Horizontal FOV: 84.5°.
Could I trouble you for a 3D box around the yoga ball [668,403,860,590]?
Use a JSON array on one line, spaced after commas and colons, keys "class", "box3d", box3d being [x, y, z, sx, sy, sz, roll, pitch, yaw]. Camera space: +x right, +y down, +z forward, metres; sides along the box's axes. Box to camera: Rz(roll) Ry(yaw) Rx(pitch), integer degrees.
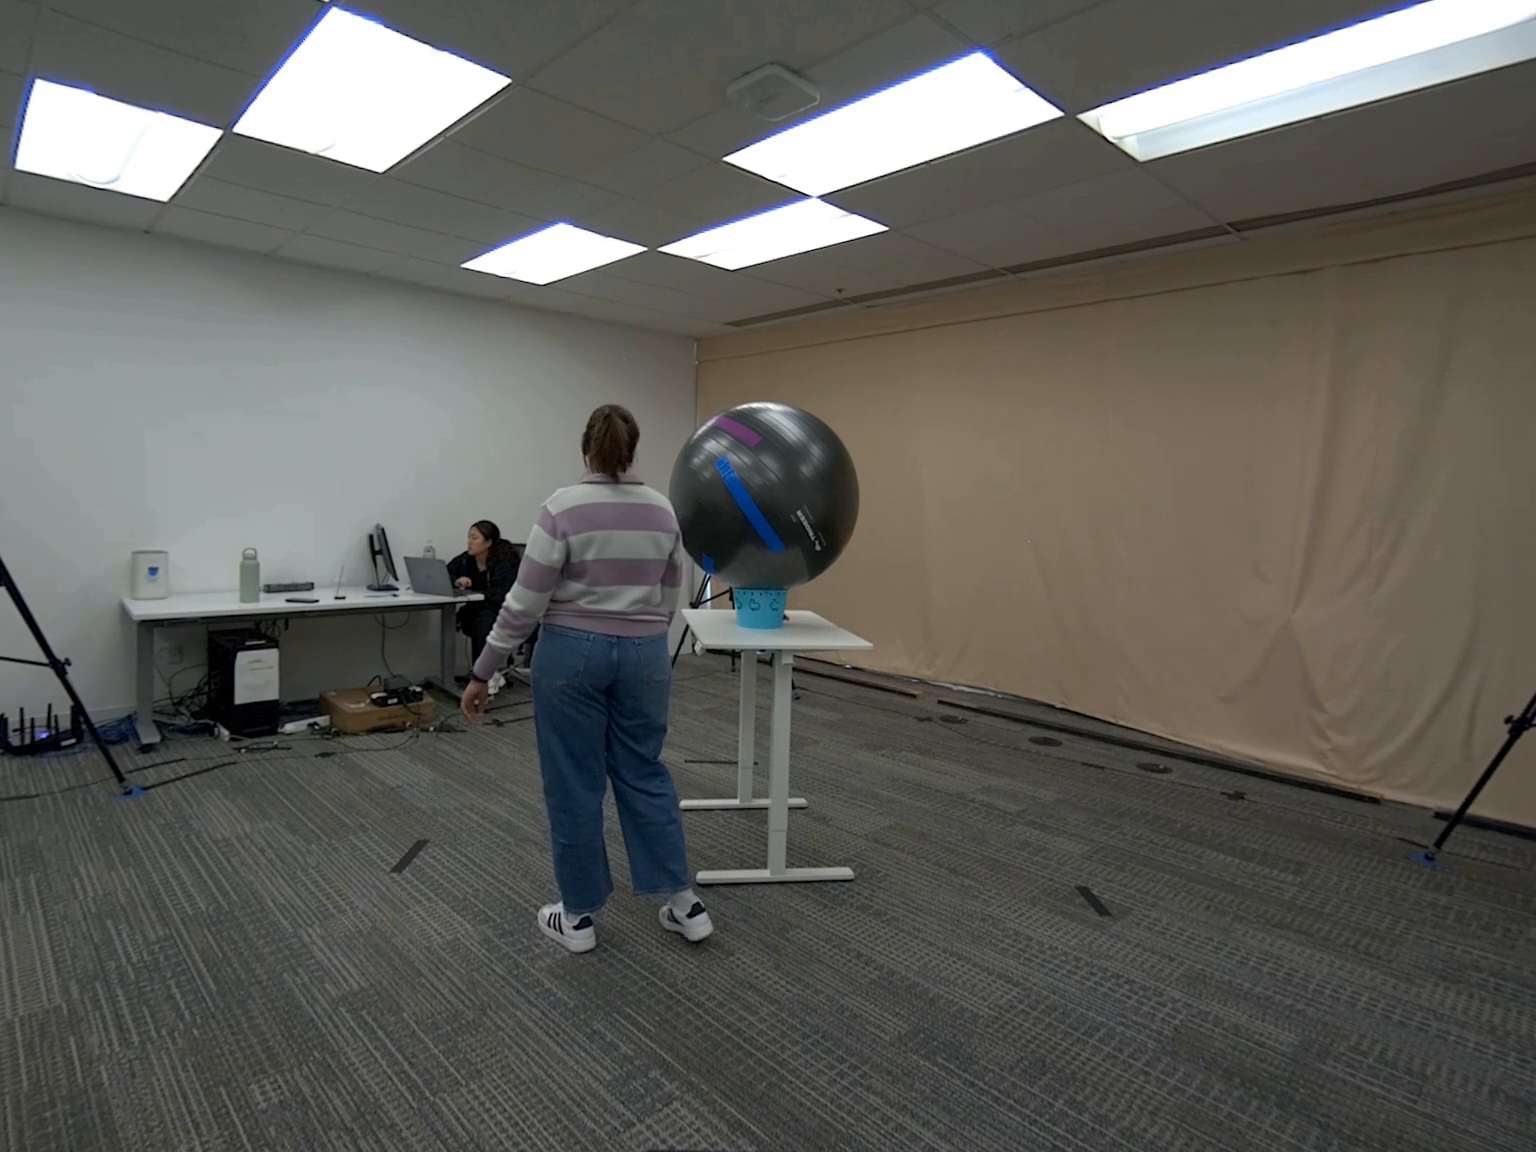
[{"class": "yoga ball", "box3d": [-0.016, -0.311, 3.369, 0.757, 0.756, 0.761, 1, 4, -1]}]
